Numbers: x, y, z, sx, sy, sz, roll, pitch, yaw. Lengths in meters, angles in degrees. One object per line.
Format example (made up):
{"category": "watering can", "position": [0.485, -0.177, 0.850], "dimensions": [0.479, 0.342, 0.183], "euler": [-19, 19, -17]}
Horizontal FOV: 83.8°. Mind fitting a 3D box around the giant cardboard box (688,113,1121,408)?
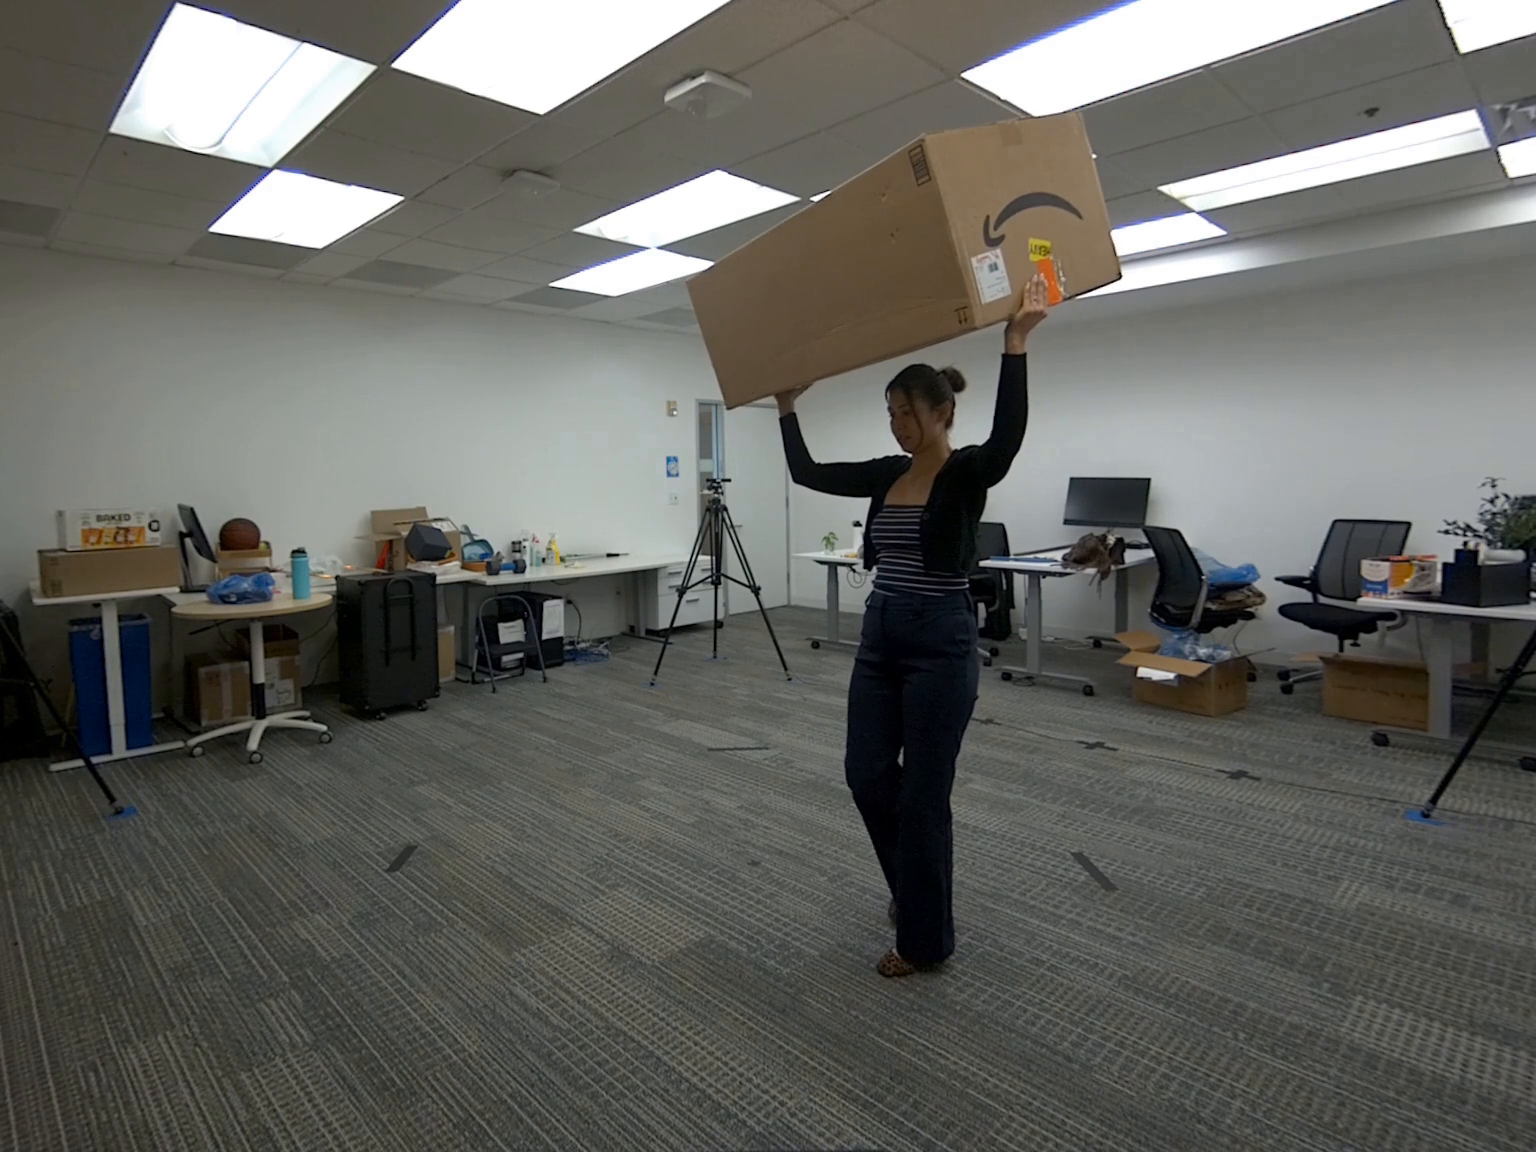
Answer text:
{"category": "giant cardboard box", "position": [0.318, -0.822, 2.399], "dimensions": [0.569, 0.421, 1.052], "euler": [-24, 13, -31]}
